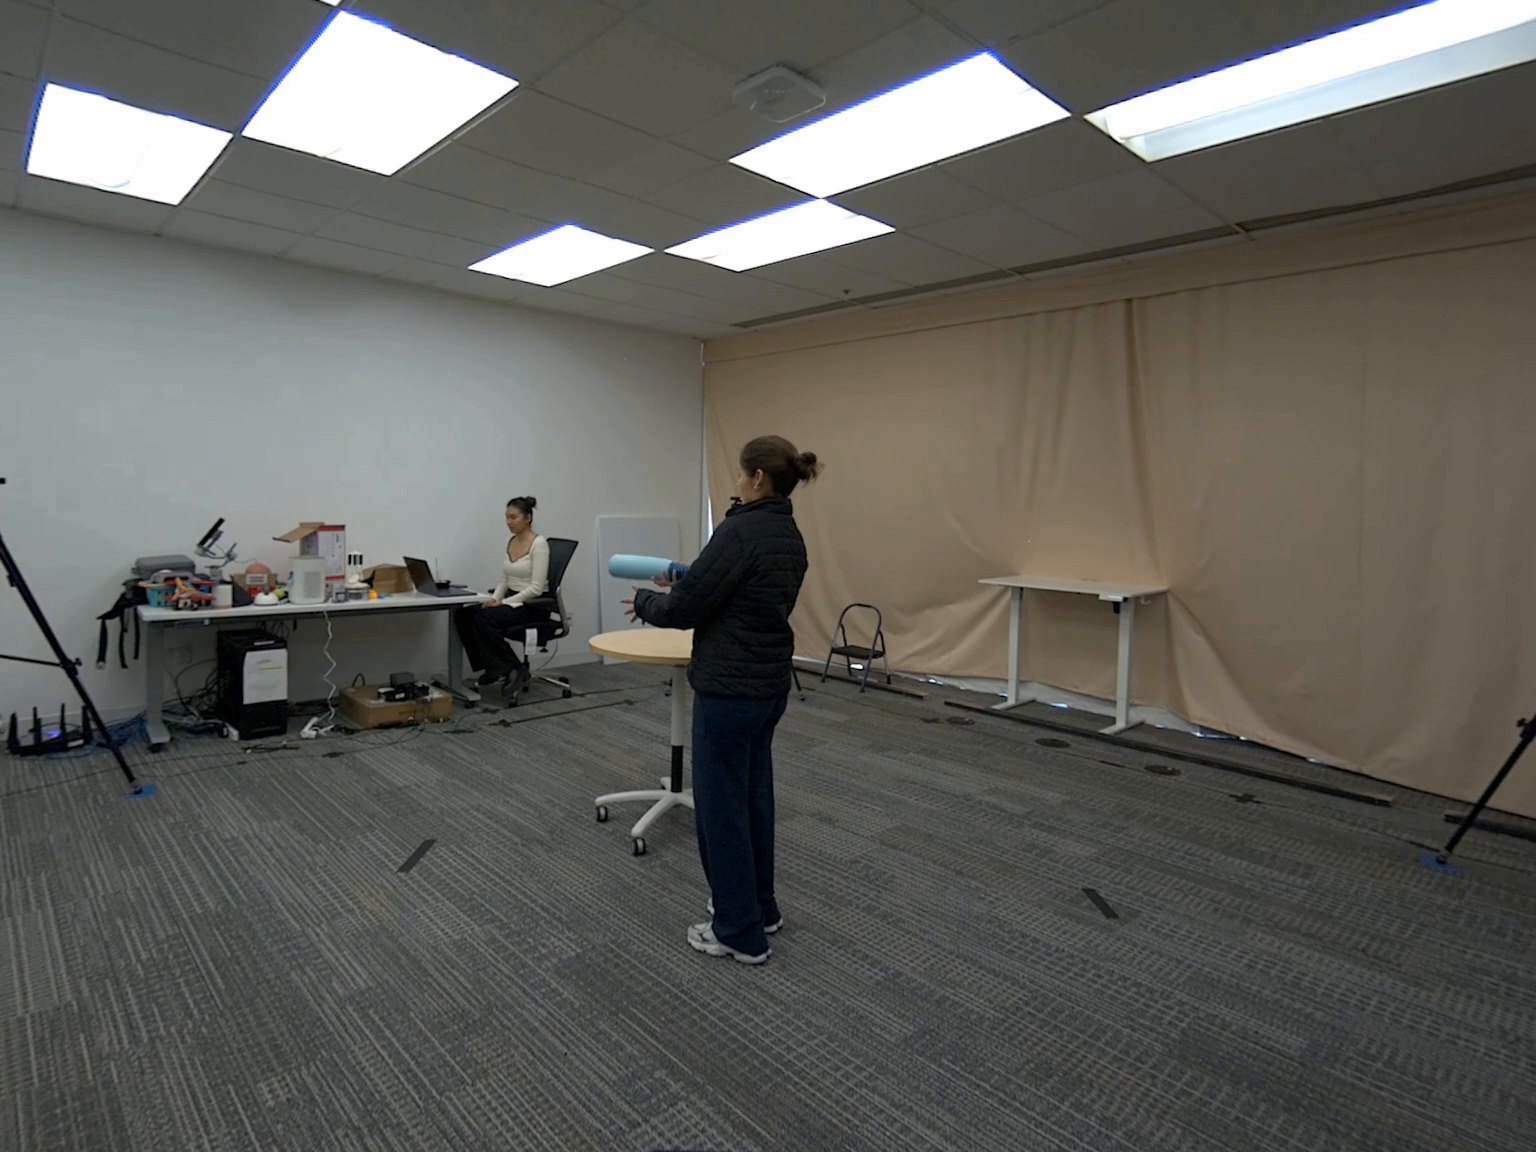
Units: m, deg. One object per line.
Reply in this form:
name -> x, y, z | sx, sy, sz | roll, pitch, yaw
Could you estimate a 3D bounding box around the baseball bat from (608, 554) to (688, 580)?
baseball bat -> -0.323, -0.034, 2.962 | 0.553, 0.089, 0.088 | 5, 5, 23
